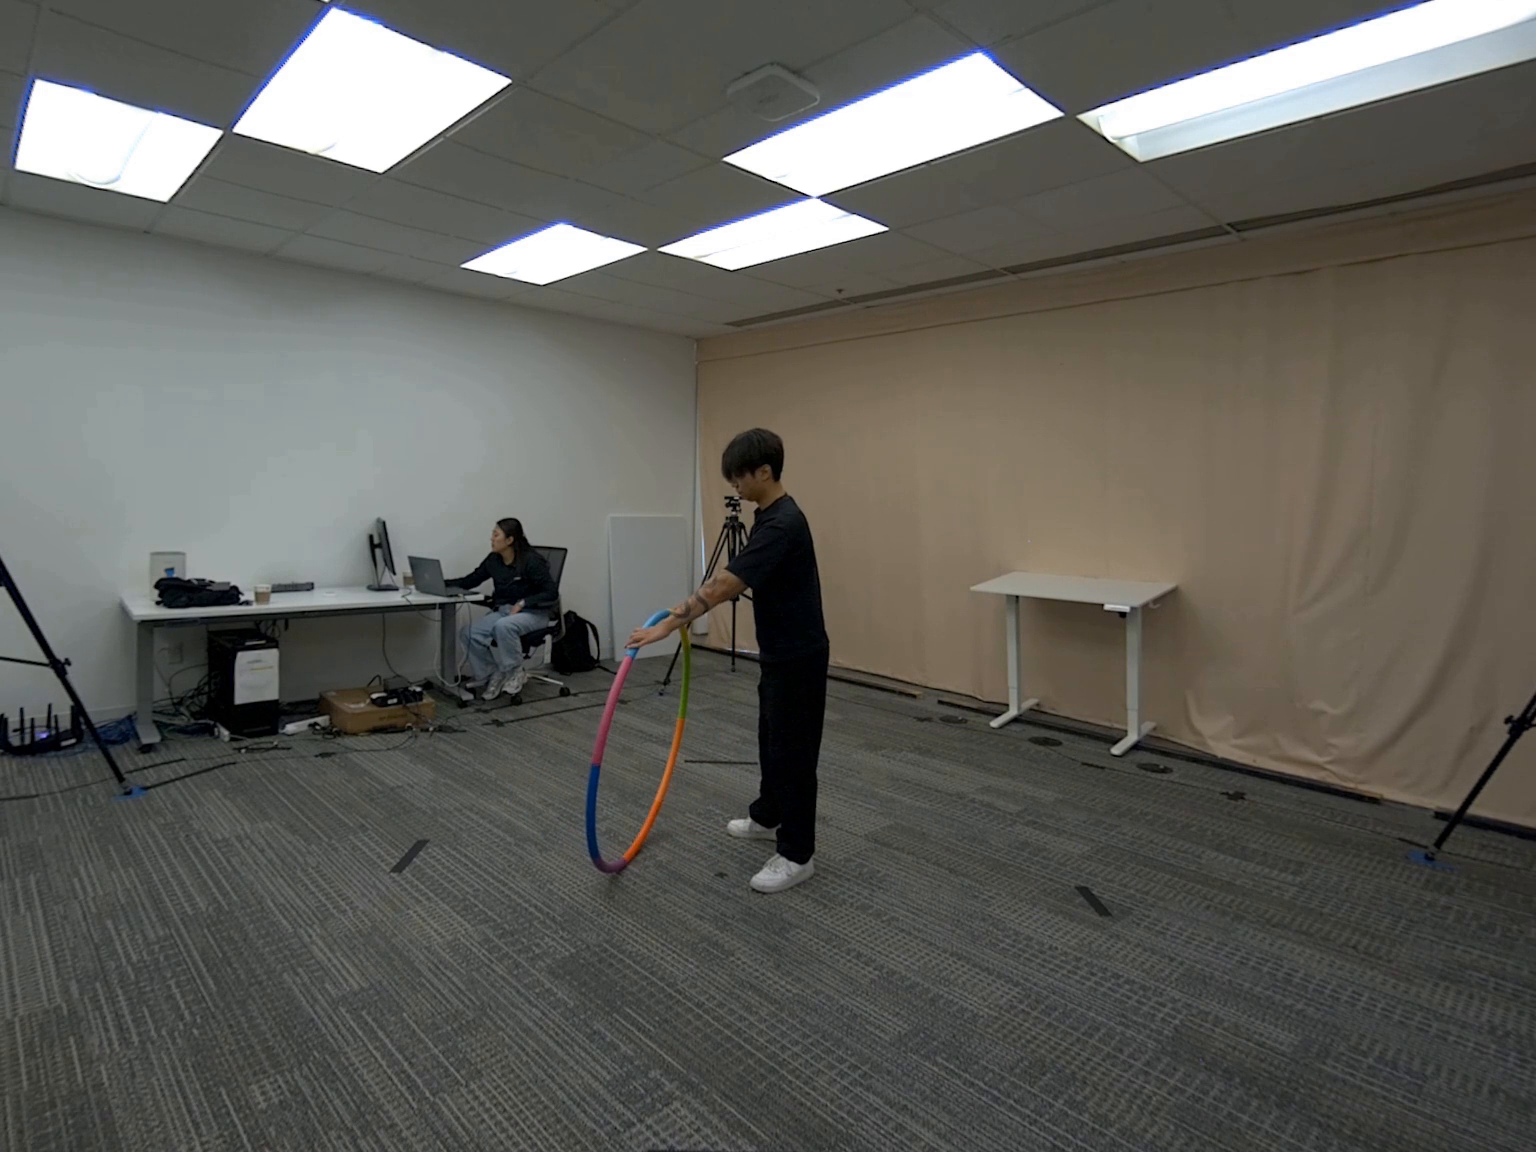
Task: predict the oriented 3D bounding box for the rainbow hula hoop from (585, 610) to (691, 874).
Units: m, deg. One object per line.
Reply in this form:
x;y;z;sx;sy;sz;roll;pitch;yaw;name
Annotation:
-0.468;0.613;3.160;0.036;0.975;0.971;9;6;10;rainbow hula hoop
